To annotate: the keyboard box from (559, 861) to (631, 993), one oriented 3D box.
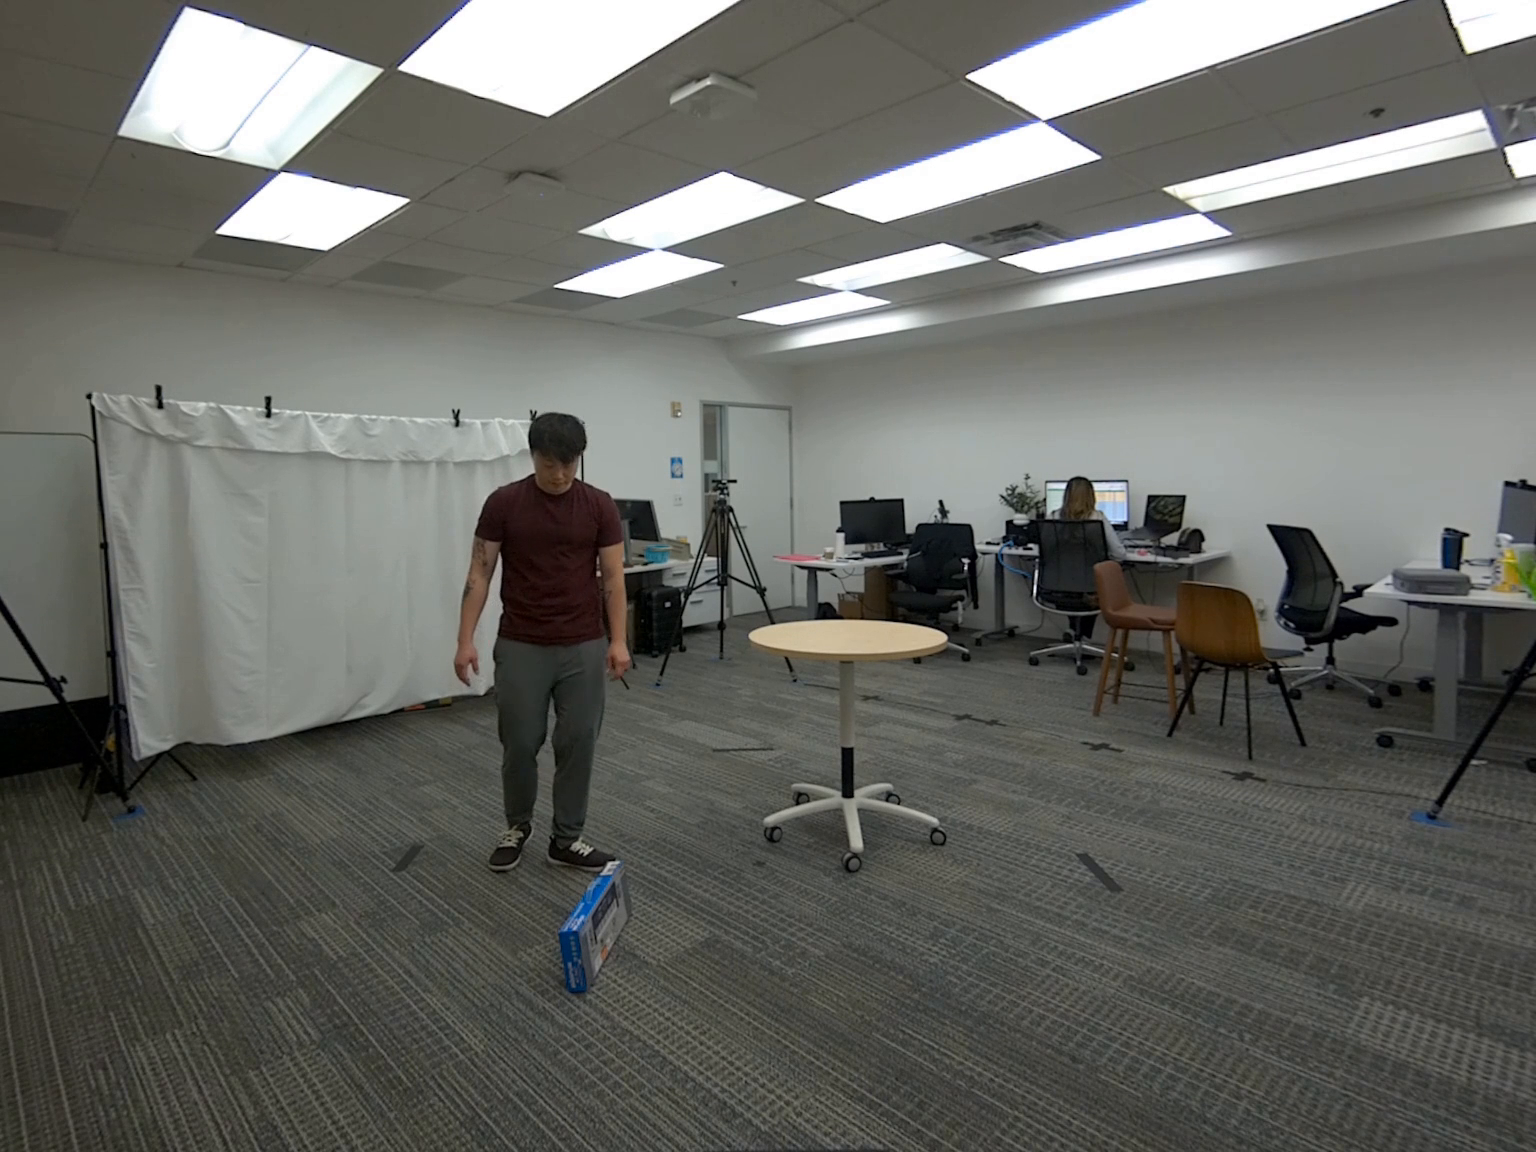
[{"bbox_3d":[-0.505,1.035,2.552,0.059,0.175,0.435,-9,5,8],"label":"keyboard box"}]
